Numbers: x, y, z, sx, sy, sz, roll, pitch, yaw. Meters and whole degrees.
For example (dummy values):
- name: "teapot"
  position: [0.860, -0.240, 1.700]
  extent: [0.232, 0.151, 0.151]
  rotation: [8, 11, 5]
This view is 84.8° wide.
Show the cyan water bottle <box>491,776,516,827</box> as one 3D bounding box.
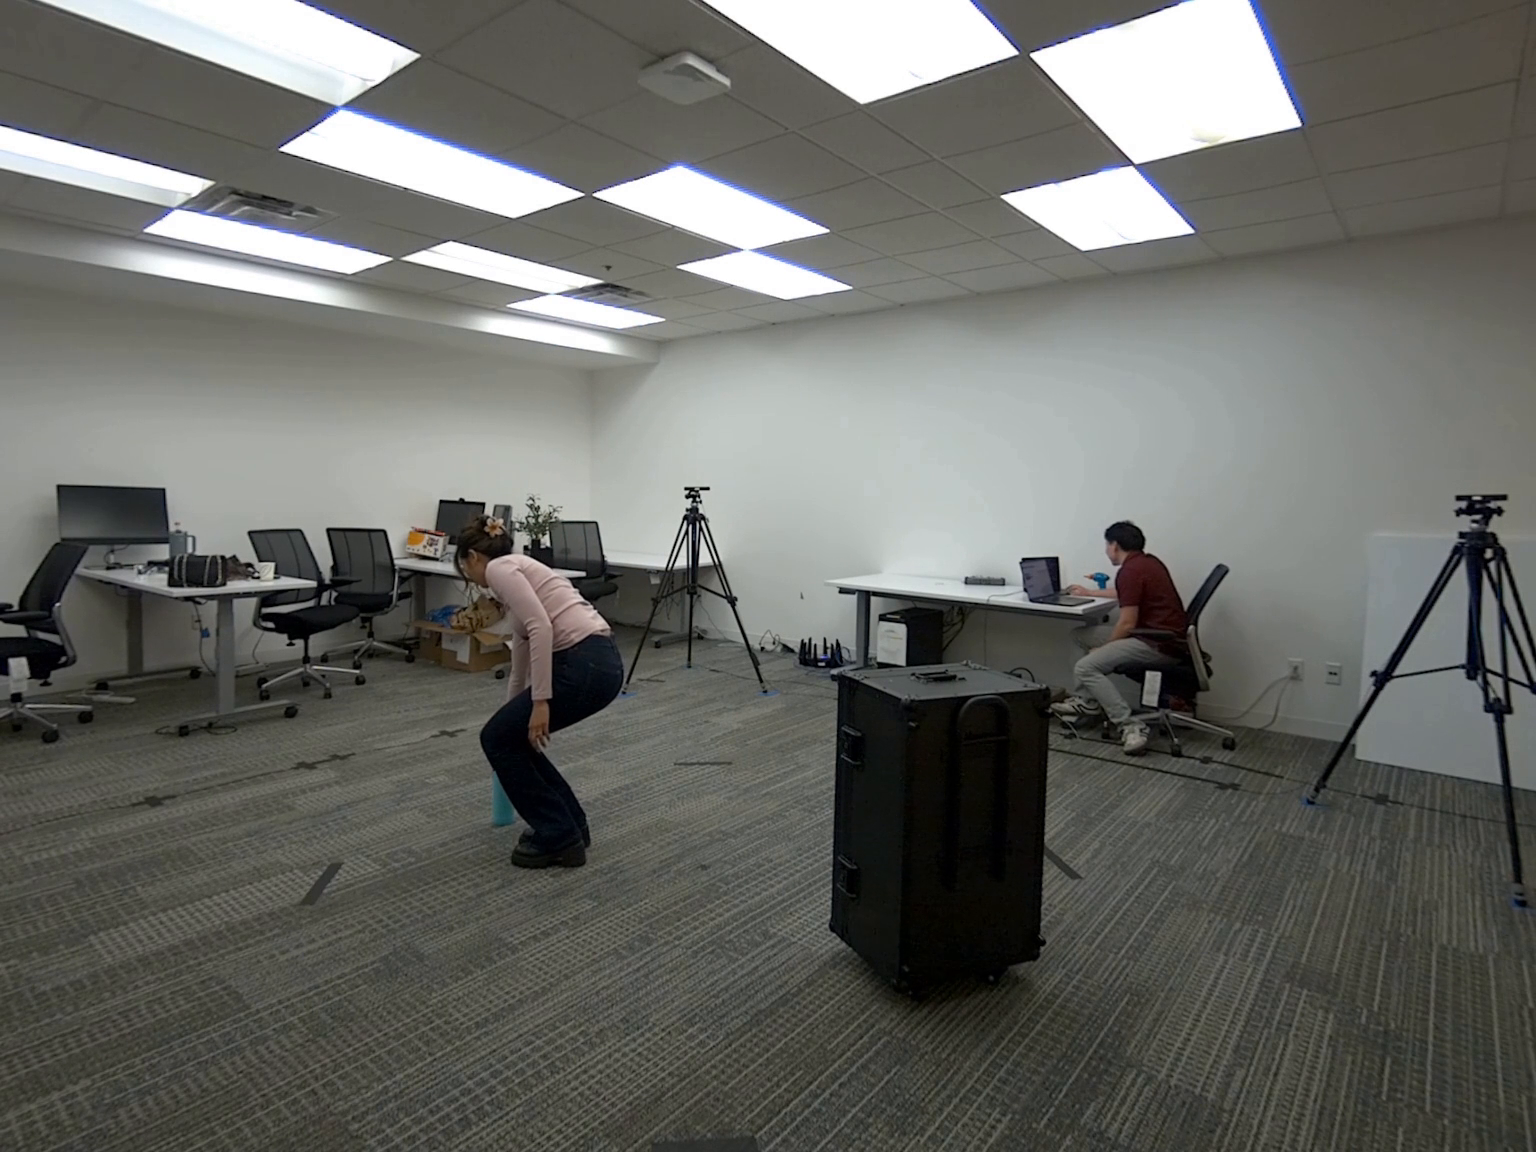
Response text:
- name: "cyan water bottle"
  position: [-1.109, 0.875, 3.509]
  extent: [0.092, 0.282, 0.093]
  rotation: [-1, 4, -2]
